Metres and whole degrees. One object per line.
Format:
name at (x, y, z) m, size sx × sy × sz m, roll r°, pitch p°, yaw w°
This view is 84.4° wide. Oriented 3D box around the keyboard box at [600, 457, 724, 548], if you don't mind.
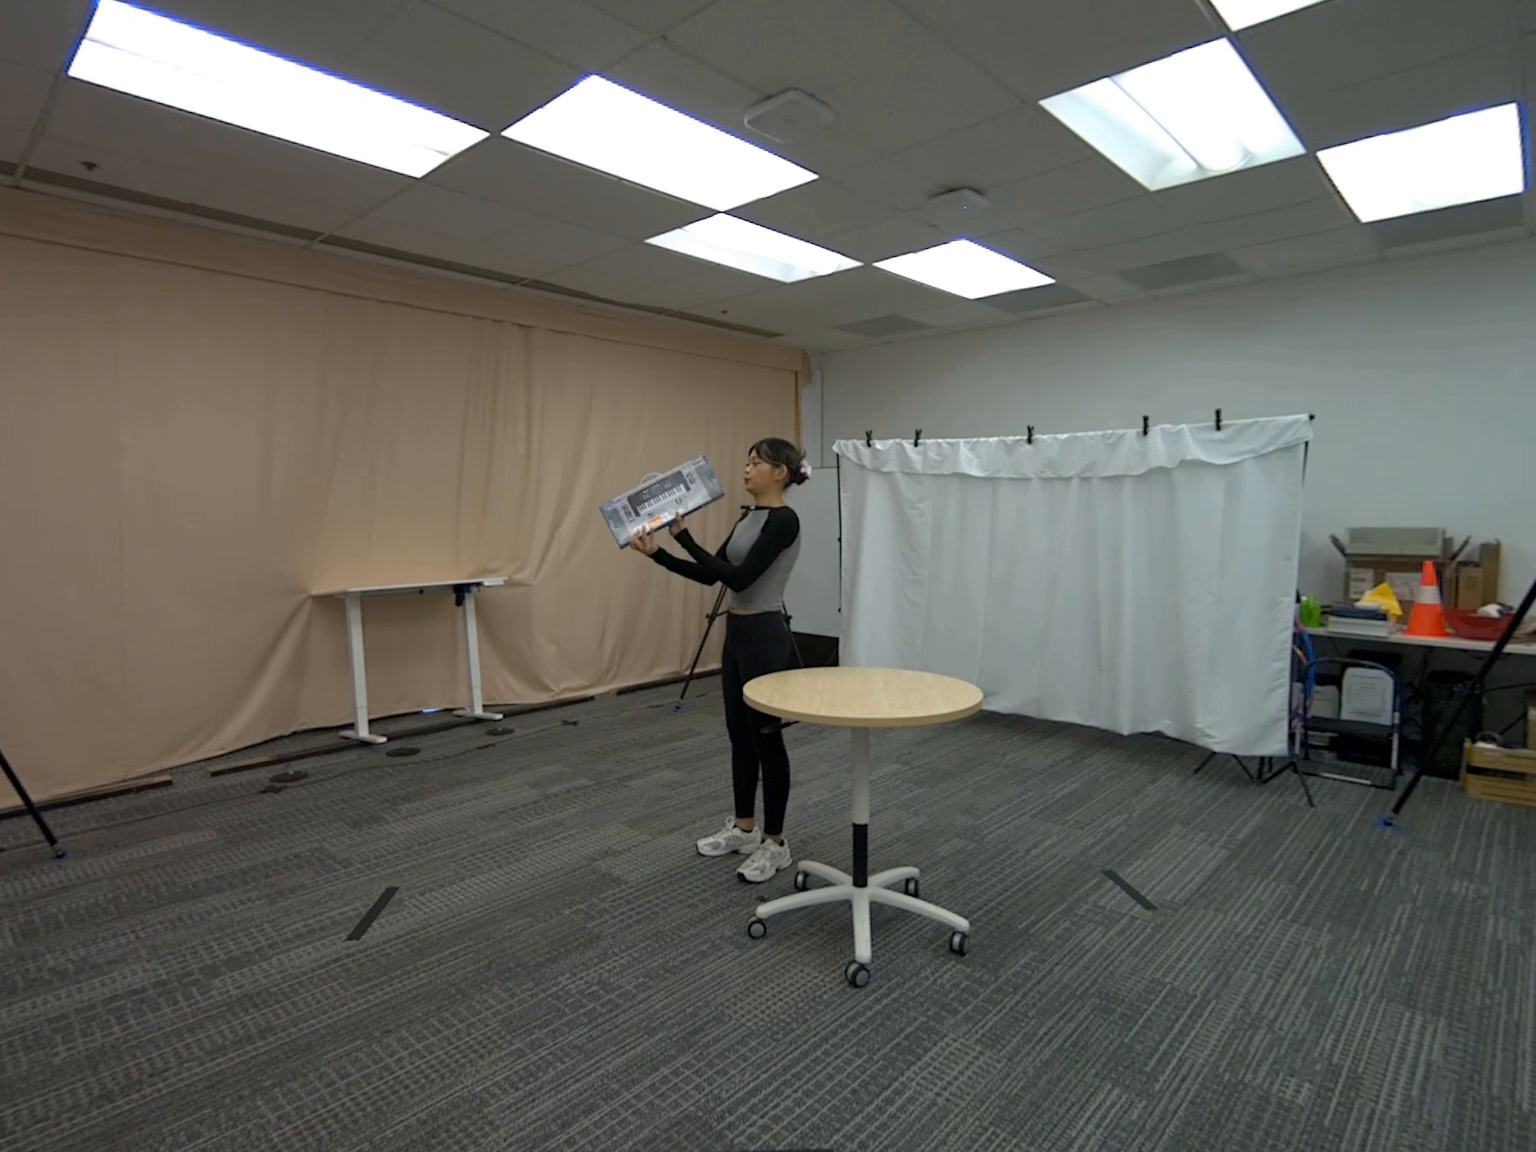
keyboard box at (-0.395, -0.273, 3.130) m, size 0.435 × 0.177 × 0.059 m, roll -28°, pitch -8°, yaw -6°
